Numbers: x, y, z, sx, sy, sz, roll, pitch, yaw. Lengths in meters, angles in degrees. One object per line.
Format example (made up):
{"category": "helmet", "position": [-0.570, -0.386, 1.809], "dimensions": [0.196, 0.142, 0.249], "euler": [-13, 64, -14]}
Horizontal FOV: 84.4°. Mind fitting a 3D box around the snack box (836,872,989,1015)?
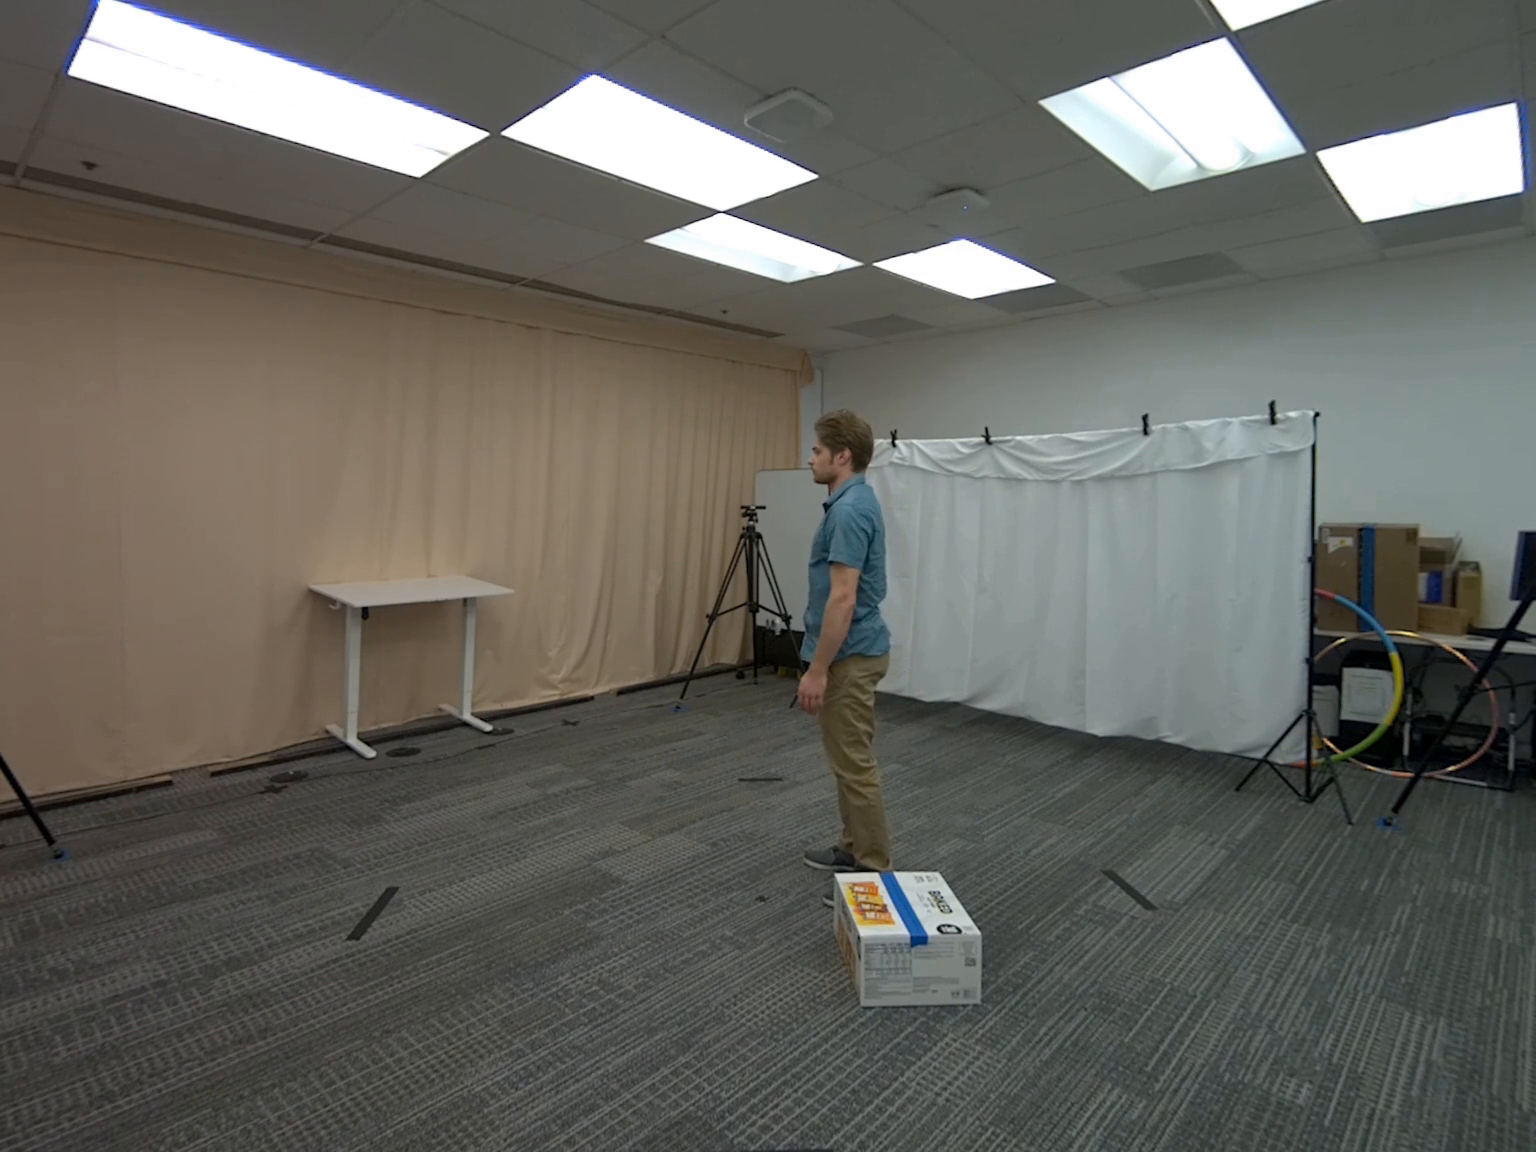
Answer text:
{"category": "snack box", "position": [0.412, 1.076, 2.521], "dimensions": [0.339, 0.205, 0.408], "euler": [-1, 4, -5]}
